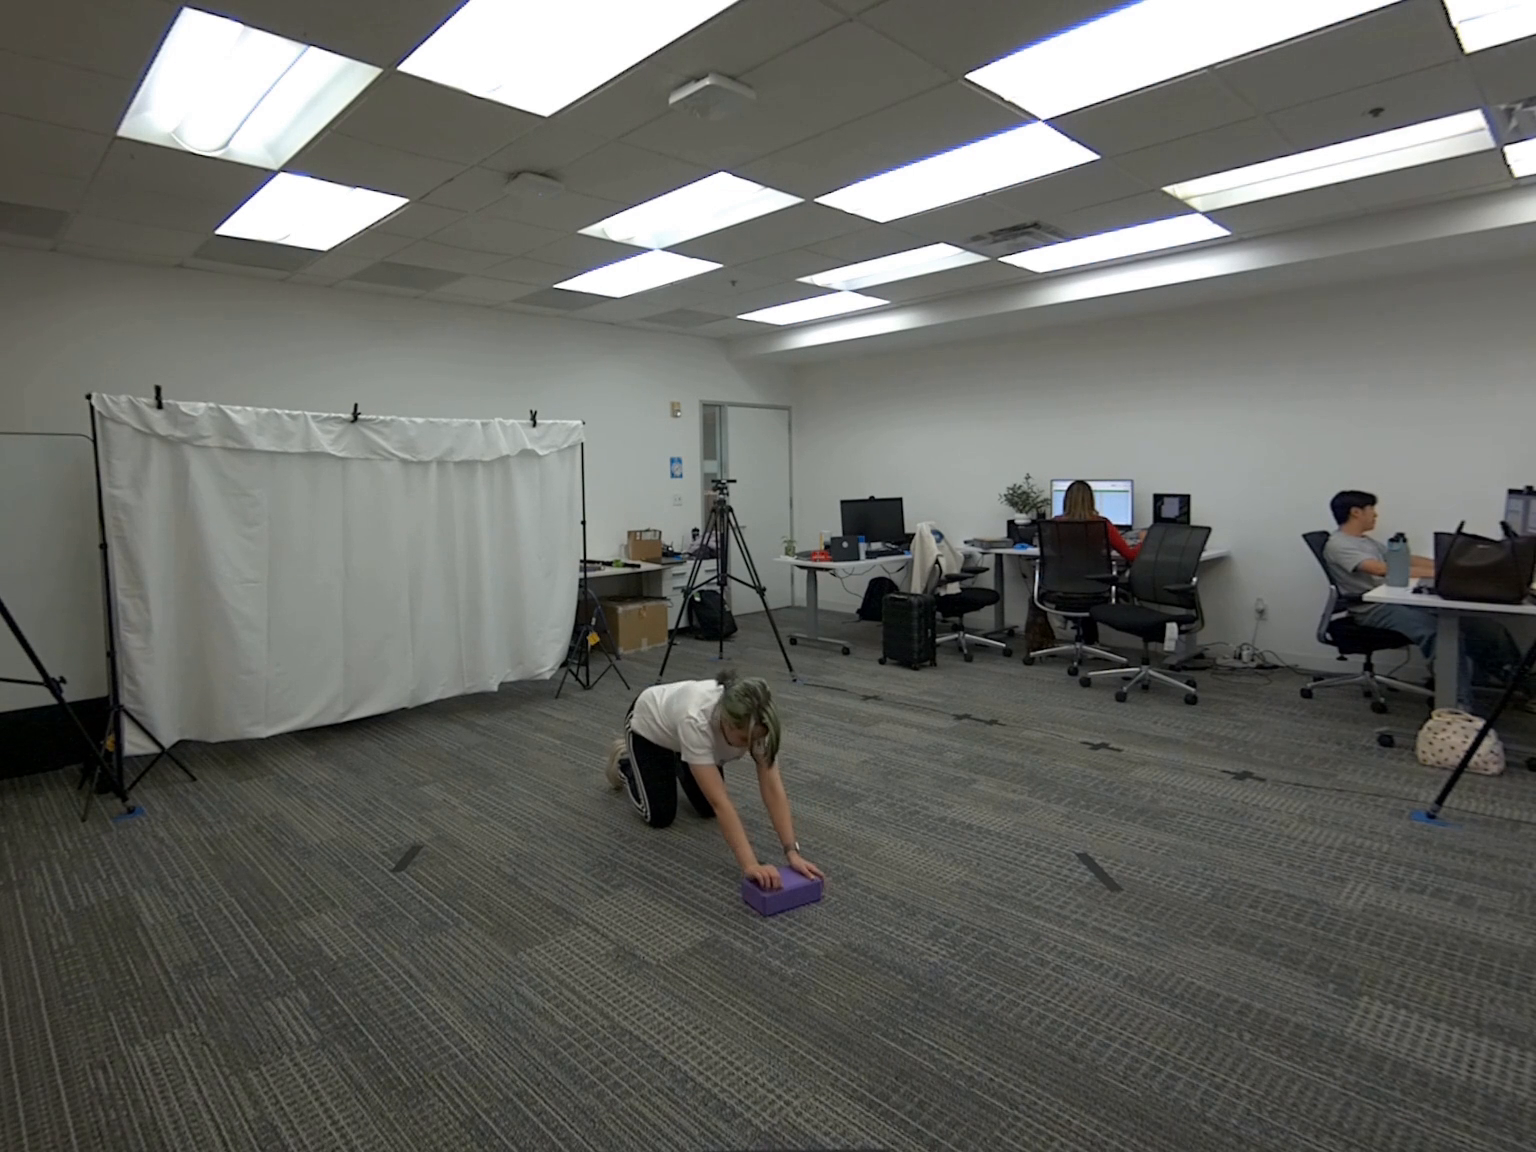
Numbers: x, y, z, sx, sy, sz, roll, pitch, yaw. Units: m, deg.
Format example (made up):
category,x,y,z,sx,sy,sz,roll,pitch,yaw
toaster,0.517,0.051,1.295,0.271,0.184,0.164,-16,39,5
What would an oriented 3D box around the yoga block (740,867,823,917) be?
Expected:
category,x,y,z,sx,sy,sz,roll,pitch,yaw
yoga block,0.048,1.037,2.837,0.224,0.076,0.153,-4,8,-31
